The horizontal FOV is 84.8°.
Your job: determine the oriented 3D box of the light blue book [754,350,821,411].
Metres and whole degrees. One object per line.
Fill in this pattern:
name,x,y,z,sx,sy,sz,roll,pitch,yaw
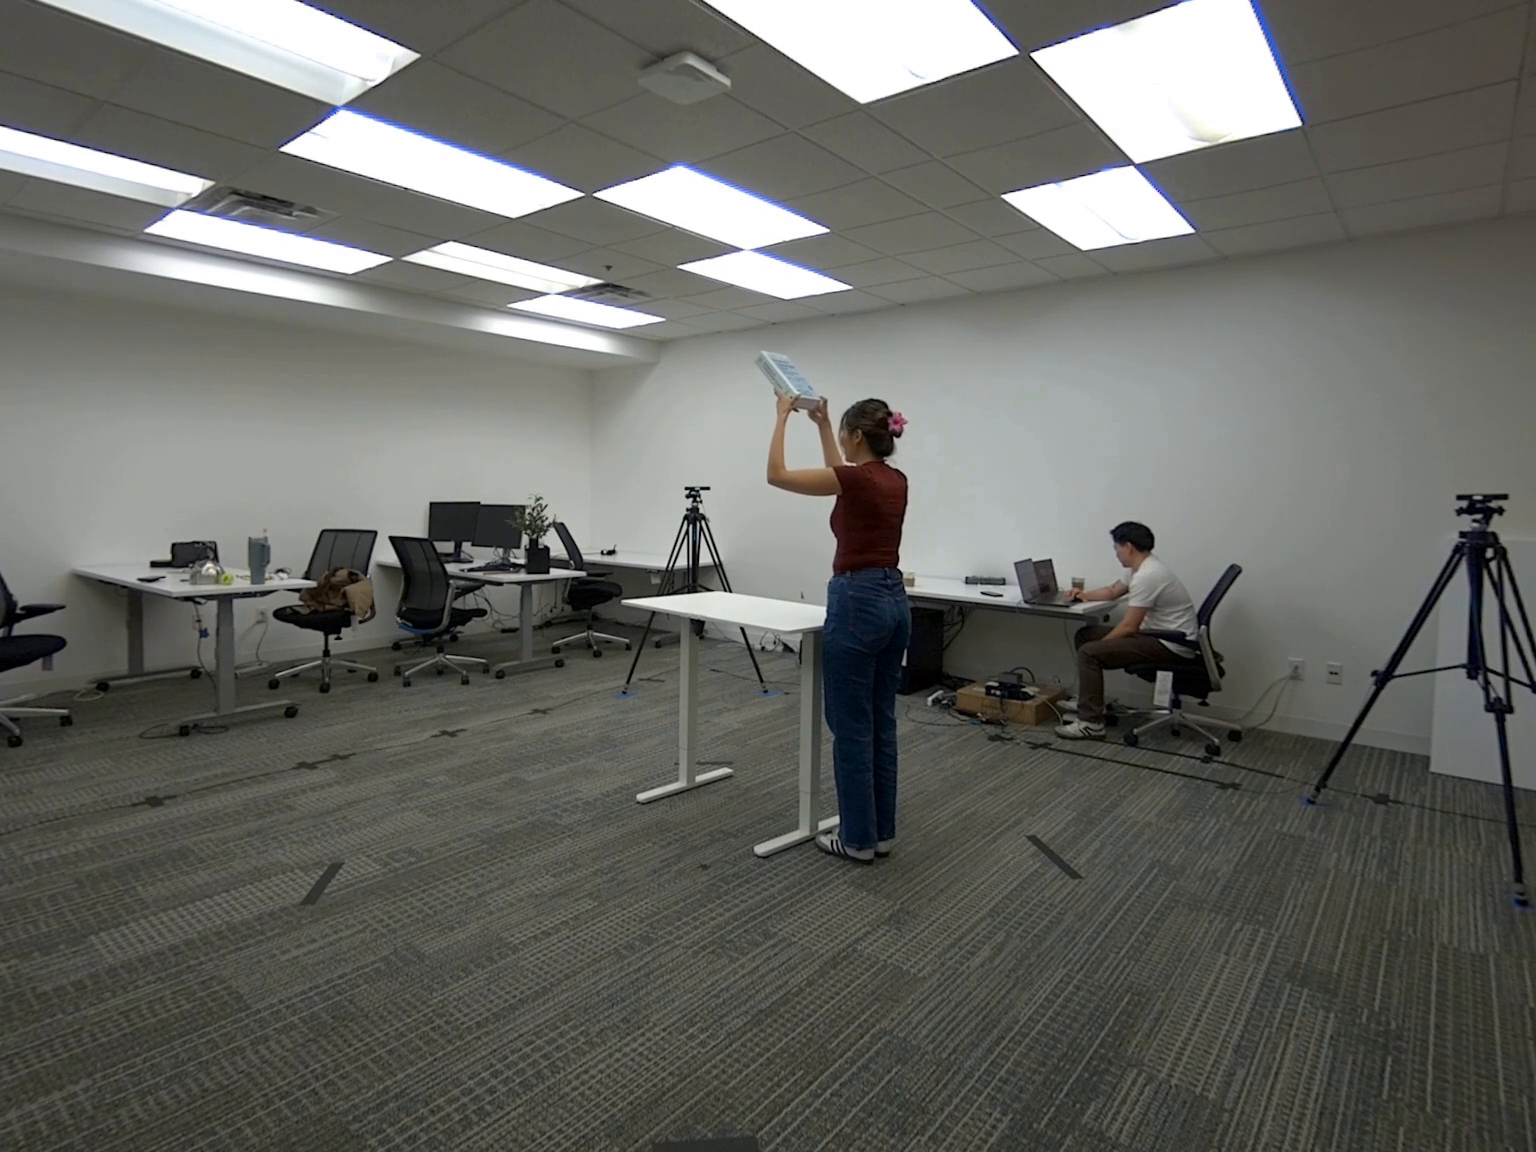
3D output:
light blue book,0.076,-0.783,3.415,0.059,0.268,0.186,-48,-22,28
